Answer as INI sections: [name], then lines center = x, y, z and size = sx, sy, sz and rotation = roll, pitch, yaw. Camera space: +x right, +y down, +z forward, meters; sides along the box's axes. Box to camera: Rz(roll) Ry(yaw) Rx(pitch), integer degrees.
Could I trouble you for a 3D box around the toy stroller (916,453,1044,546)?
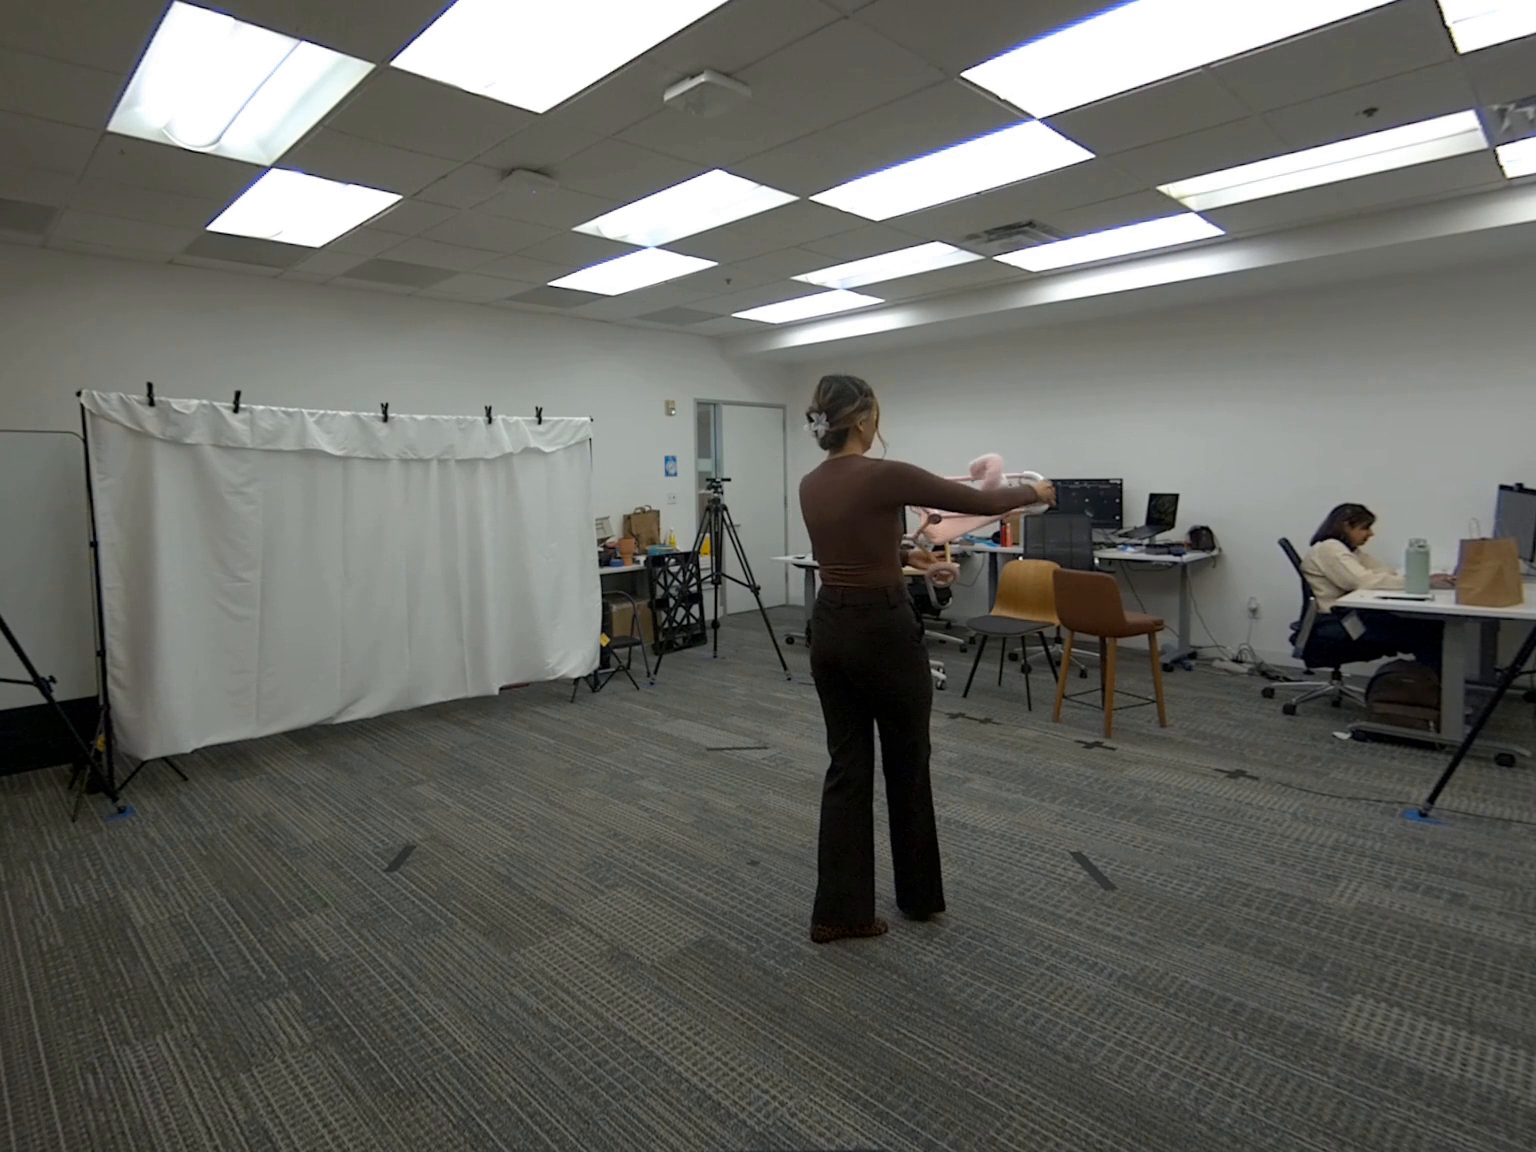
[toy stroller]
center = 0.614, -0.226, 2.863
size = 0.334, 0.286, 0.537
rotation = 37, -51, -18
